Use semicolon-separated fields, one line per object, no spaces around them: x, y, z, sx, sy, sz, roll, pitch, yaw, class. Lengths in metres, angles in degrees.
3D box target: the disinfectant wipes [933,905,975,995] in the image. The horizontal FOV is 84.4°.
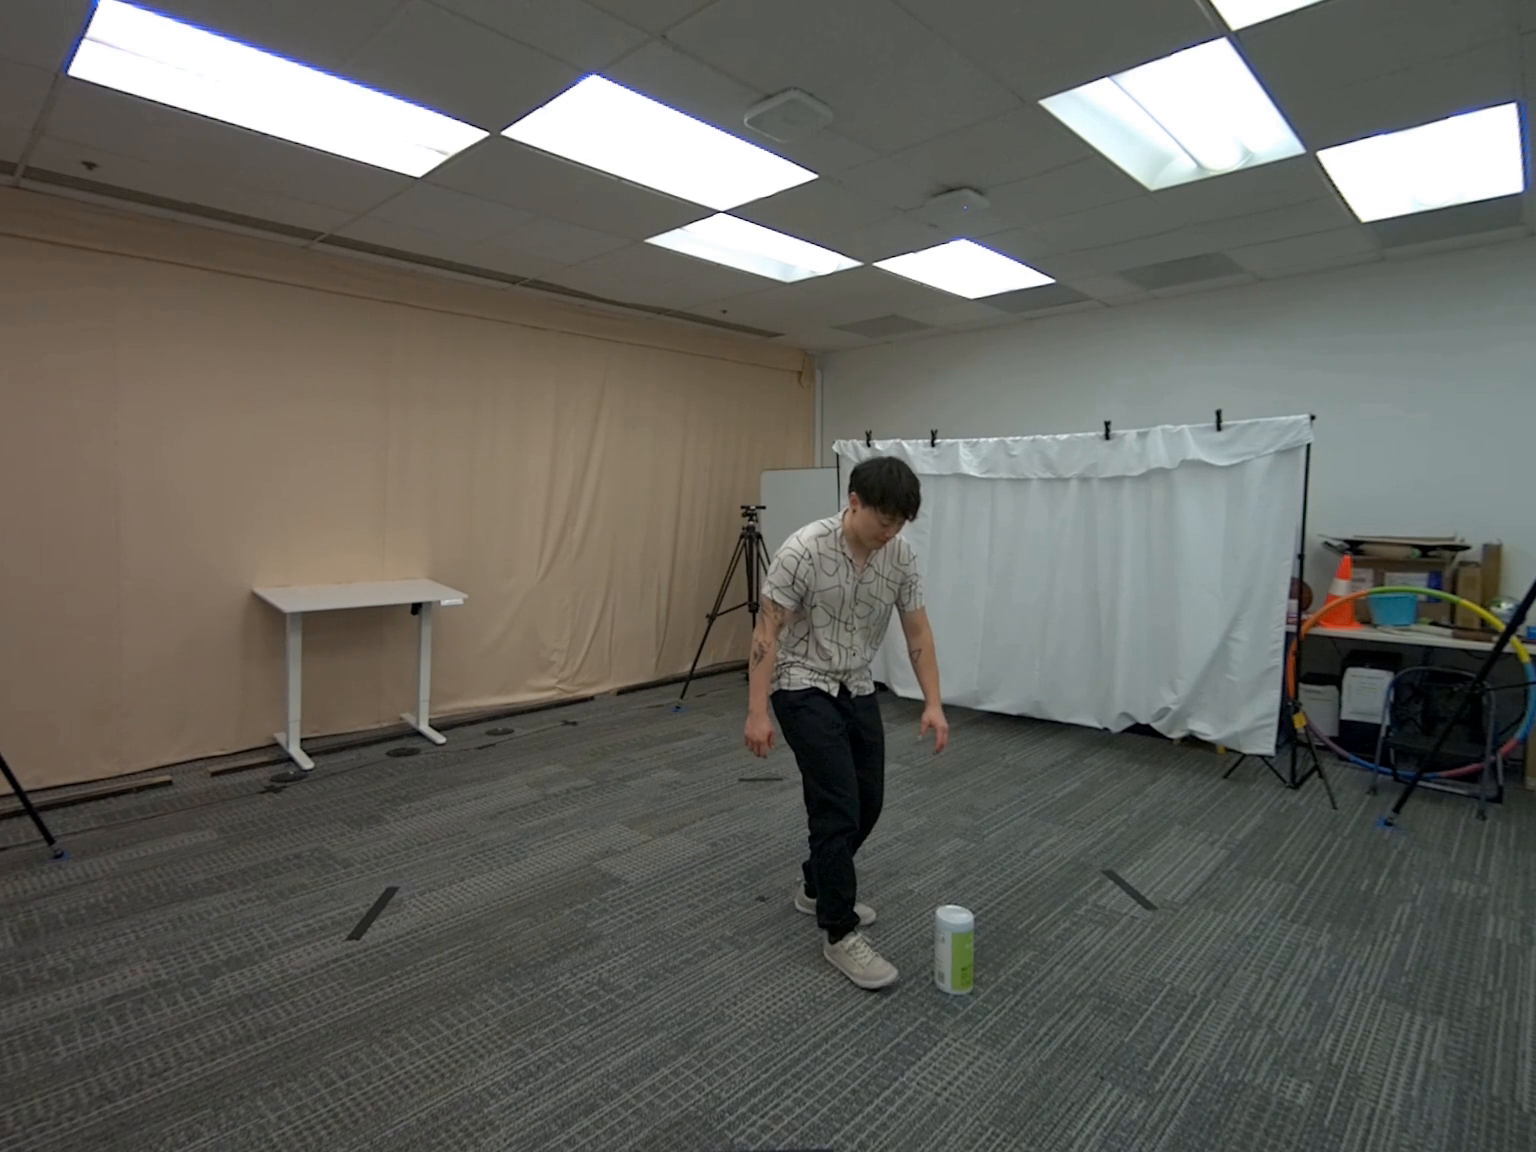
0.546;1.089;2.428;0.118;0.217;0.118;1;2;-2;disinfectant wipes
